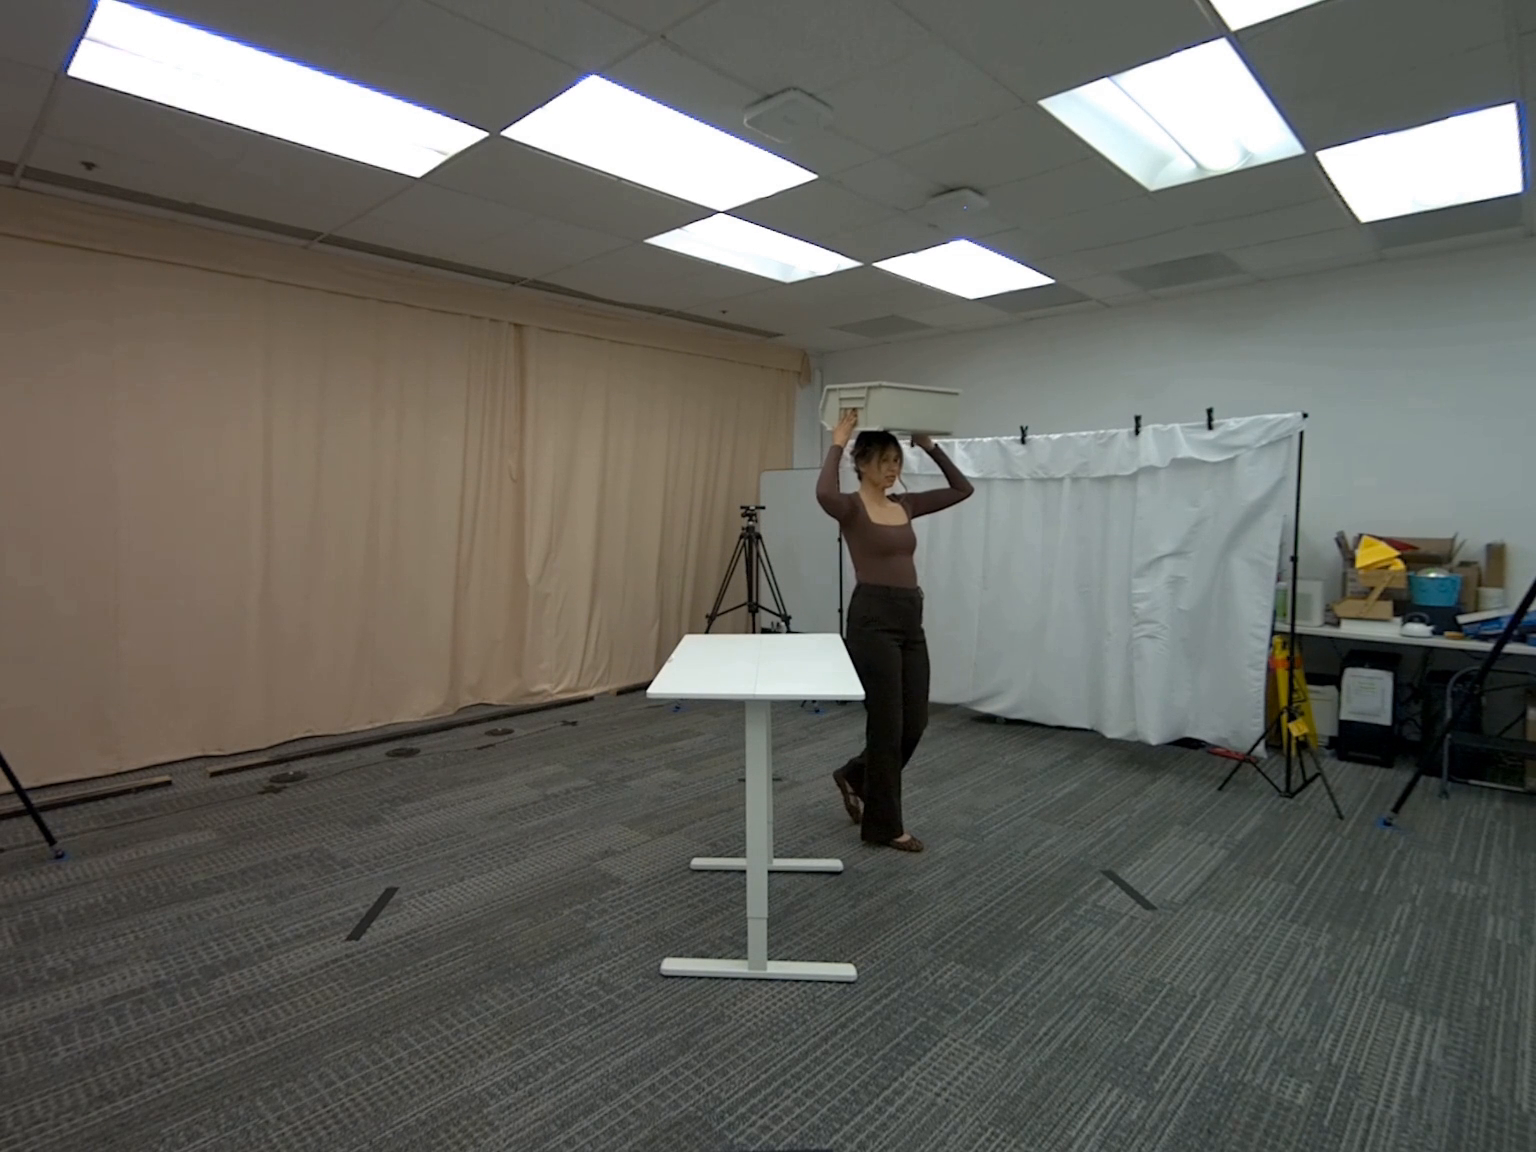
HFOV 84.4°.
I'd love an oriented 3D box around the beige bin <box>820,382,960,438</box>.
[{"bbox_3d":[0.487,-0.663,3.379,0.411,0.188,0.389,-2,10,-30],"label":"beige bin"}]
